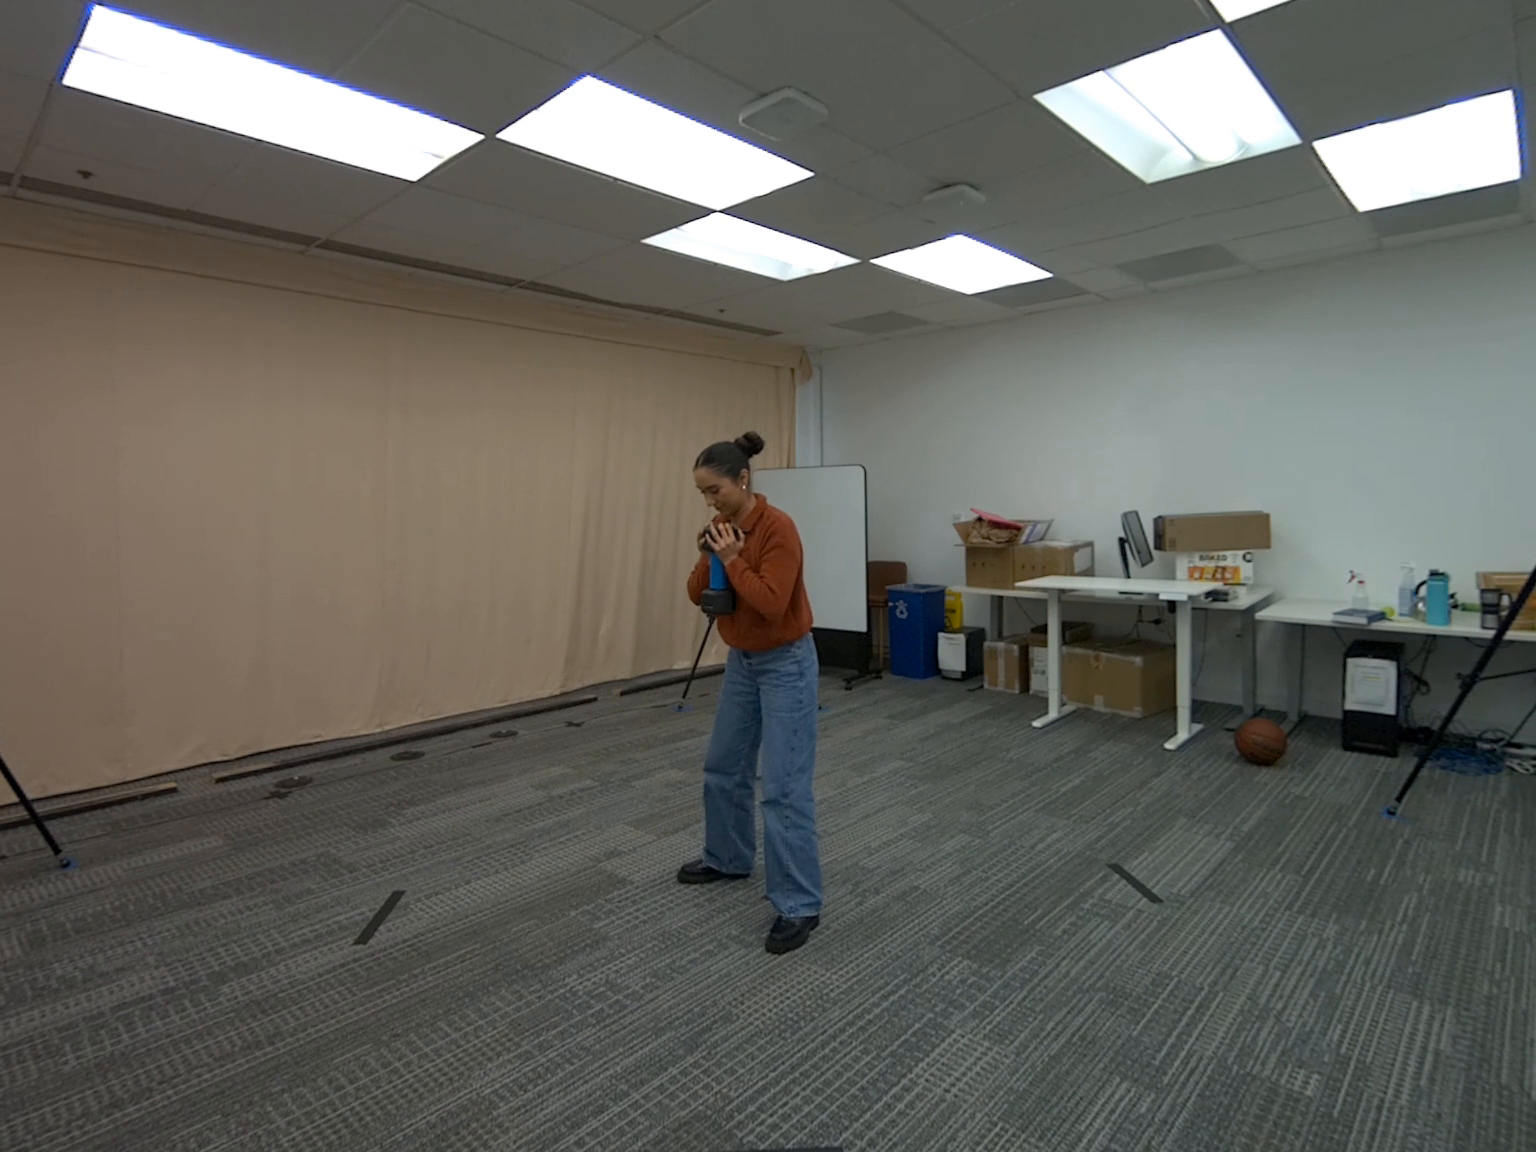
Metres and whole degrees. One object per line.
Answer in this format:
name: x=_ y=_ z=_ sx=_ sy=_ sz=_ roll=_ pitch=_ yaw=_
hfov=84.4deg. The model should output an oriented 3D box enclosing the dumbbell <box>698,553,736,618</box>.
dumbbell: x=-0.160 y=-0.010 z=2.827 sx=0.127 sy=0.293 sz=0.105 roll=-1 pitch=0 yaw=40
